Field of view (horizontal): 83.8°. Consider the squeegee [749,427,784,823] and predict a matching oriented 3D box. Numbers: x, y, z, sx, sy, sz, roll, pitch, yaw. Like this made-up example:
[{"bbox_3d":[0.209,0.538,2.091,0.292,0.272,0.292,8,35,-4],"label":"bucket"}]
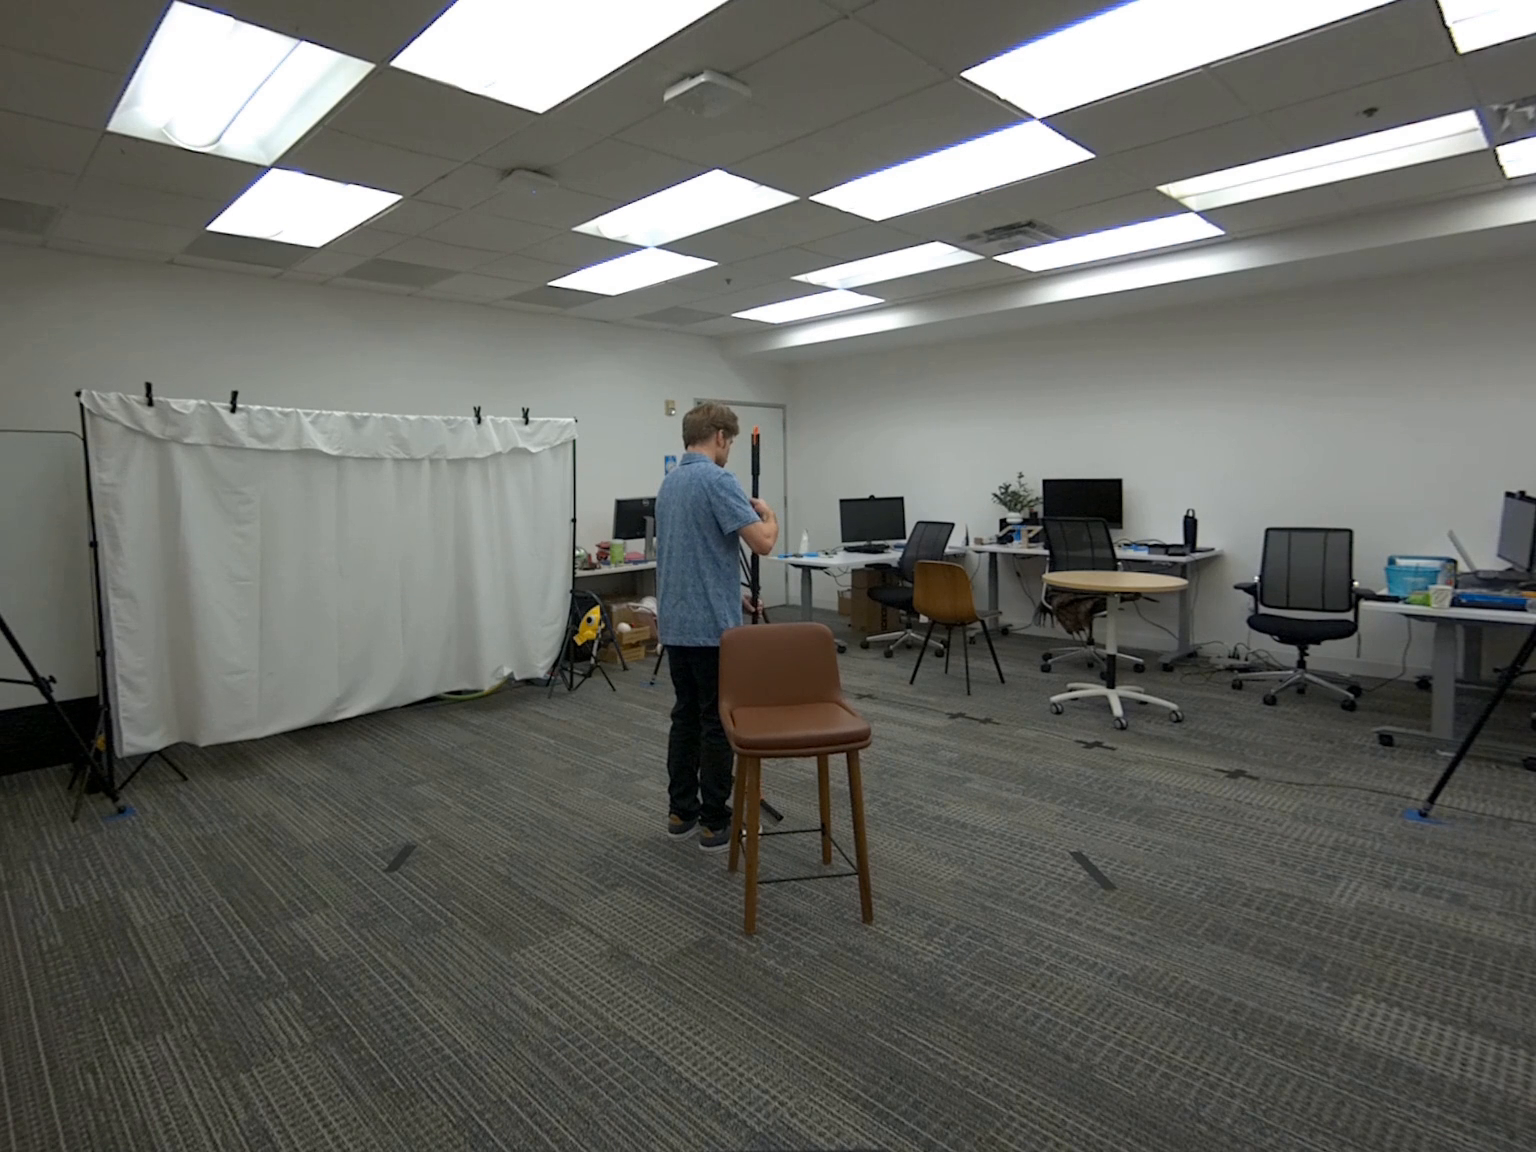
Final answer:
[{"bbox_3d":[-0.046,0.190,3.443,0.052,1.533,0.448,0,4,-24],"label":"squeegee"}]
